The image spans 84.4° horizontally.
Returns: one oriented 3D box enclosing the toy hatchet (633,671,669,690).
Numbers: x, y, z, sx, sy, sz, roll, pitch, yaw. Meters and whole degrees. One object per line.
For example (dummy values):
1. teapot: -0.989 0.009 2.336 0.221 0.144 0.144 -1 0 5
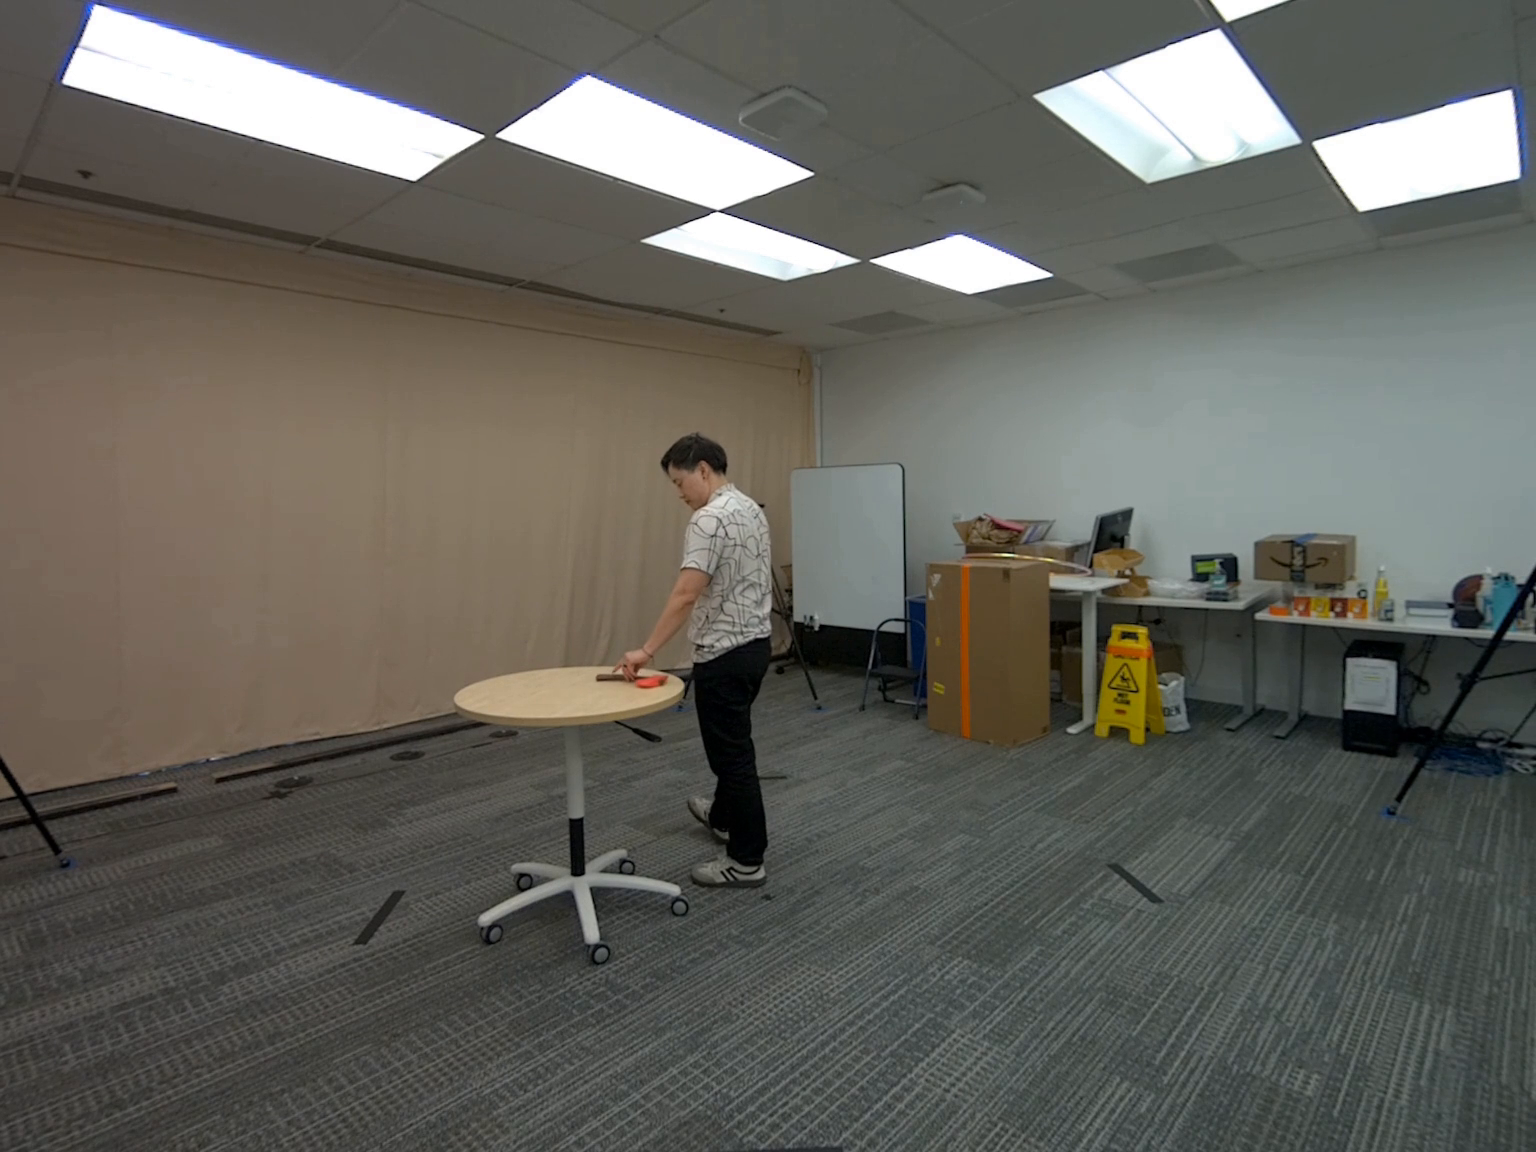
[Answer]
1. toy hatchet: -0.493 0.365 2.907 0.274 0.029 0.130 -2 6 13
